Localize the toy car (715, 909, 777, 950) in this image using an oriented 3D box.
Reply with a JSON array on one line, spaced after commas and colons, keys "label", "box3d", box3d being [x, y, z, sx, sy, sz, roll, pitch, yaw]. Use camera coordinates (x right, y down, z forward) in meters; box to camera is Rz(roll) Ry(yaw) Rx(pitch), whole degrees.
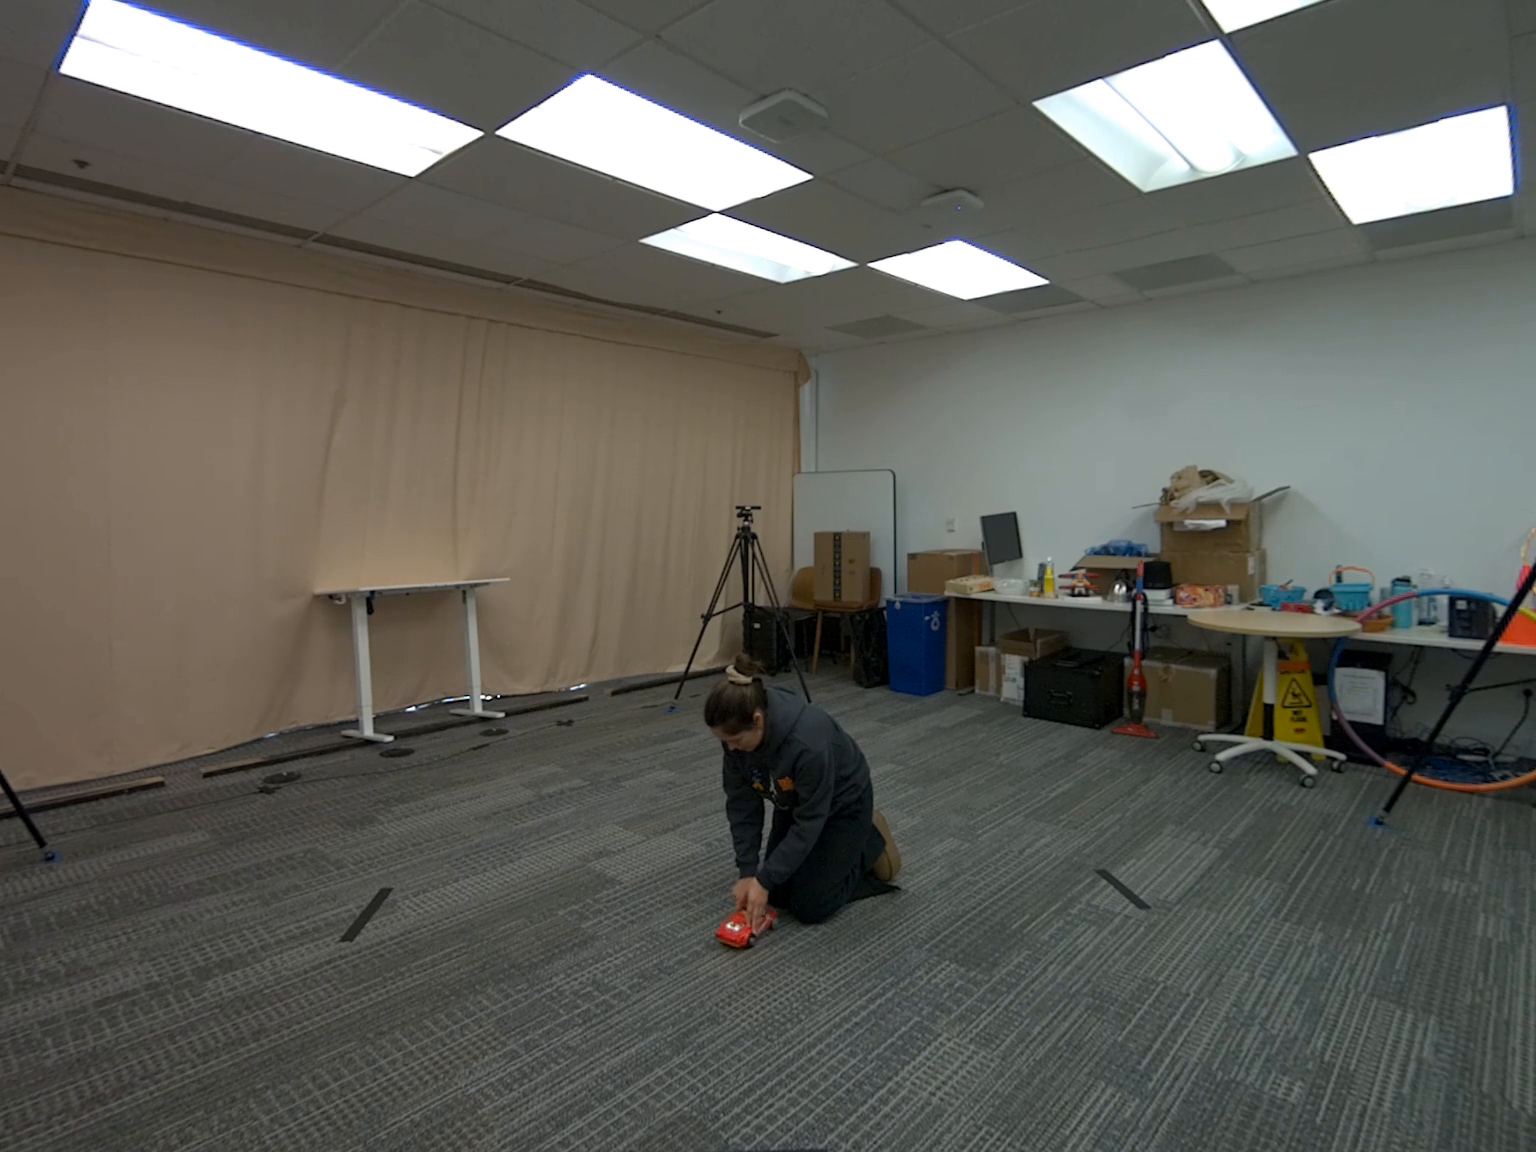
[{"label": "toy car", "box3d": [-0.056, 1.134, 2.714, 0.134, 0.083, 0.246, 3, -7, 34]}]
